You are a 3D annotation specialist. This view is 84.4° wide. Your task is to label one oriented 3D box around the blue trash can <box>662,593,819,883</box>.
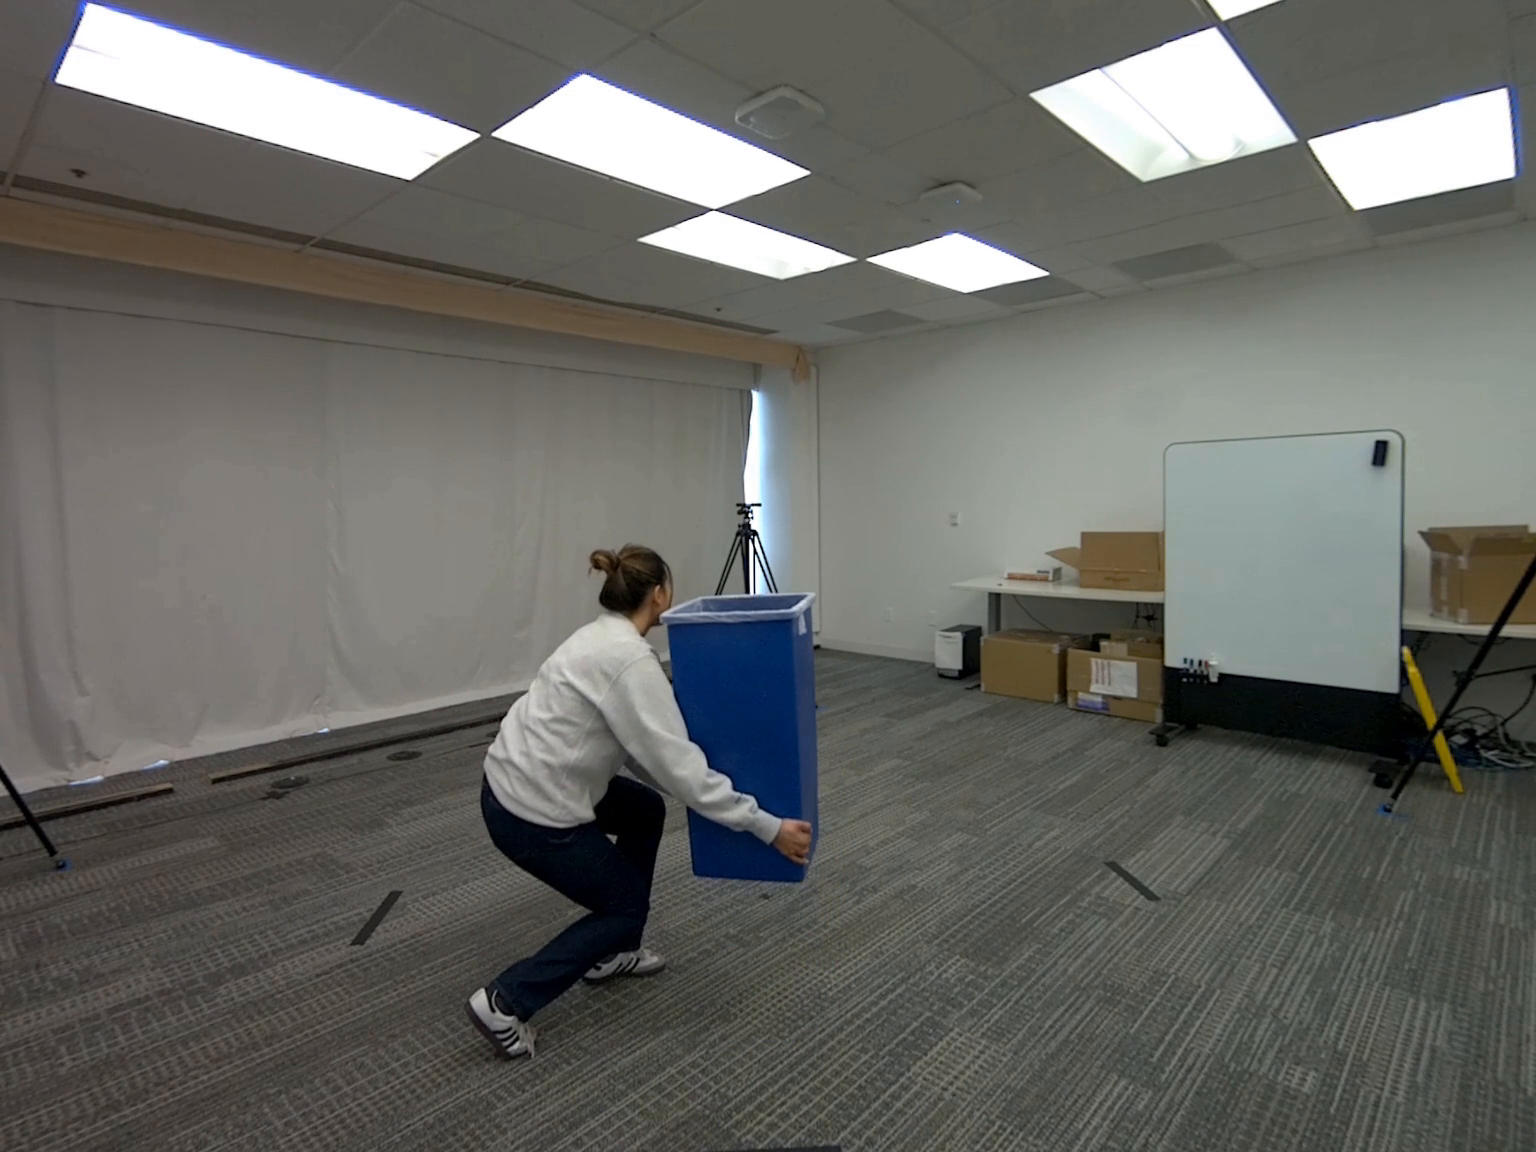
[{"bbox_3d":[-0.052,0.430,2.315,0.379,0.712,0.374,-2,4,13],"label":"blue trash can"}]
